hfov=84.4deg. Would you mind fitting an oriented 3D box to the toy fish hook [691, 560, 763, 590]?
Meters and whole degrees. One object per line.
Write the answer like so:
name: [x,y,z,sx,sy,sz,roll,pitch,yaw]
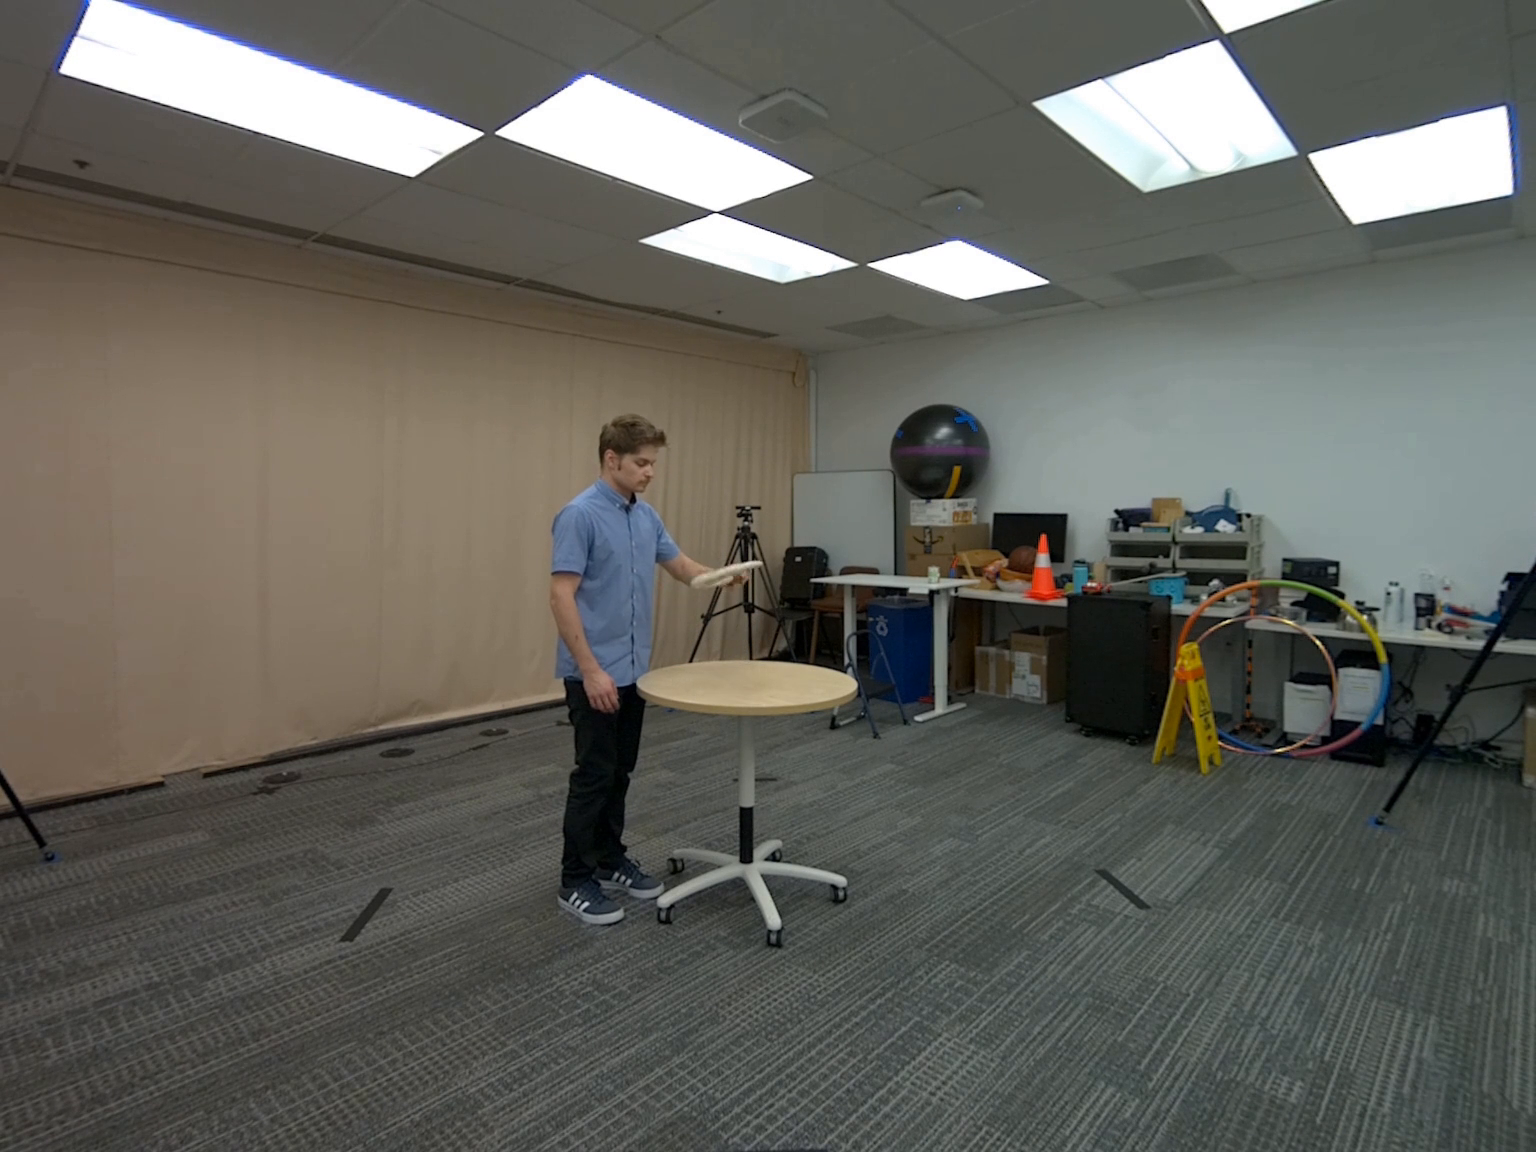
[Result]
toy fish hook: [-0.097,0.011,2.740,0.227,0.048,0.500,-15,-1,9]
